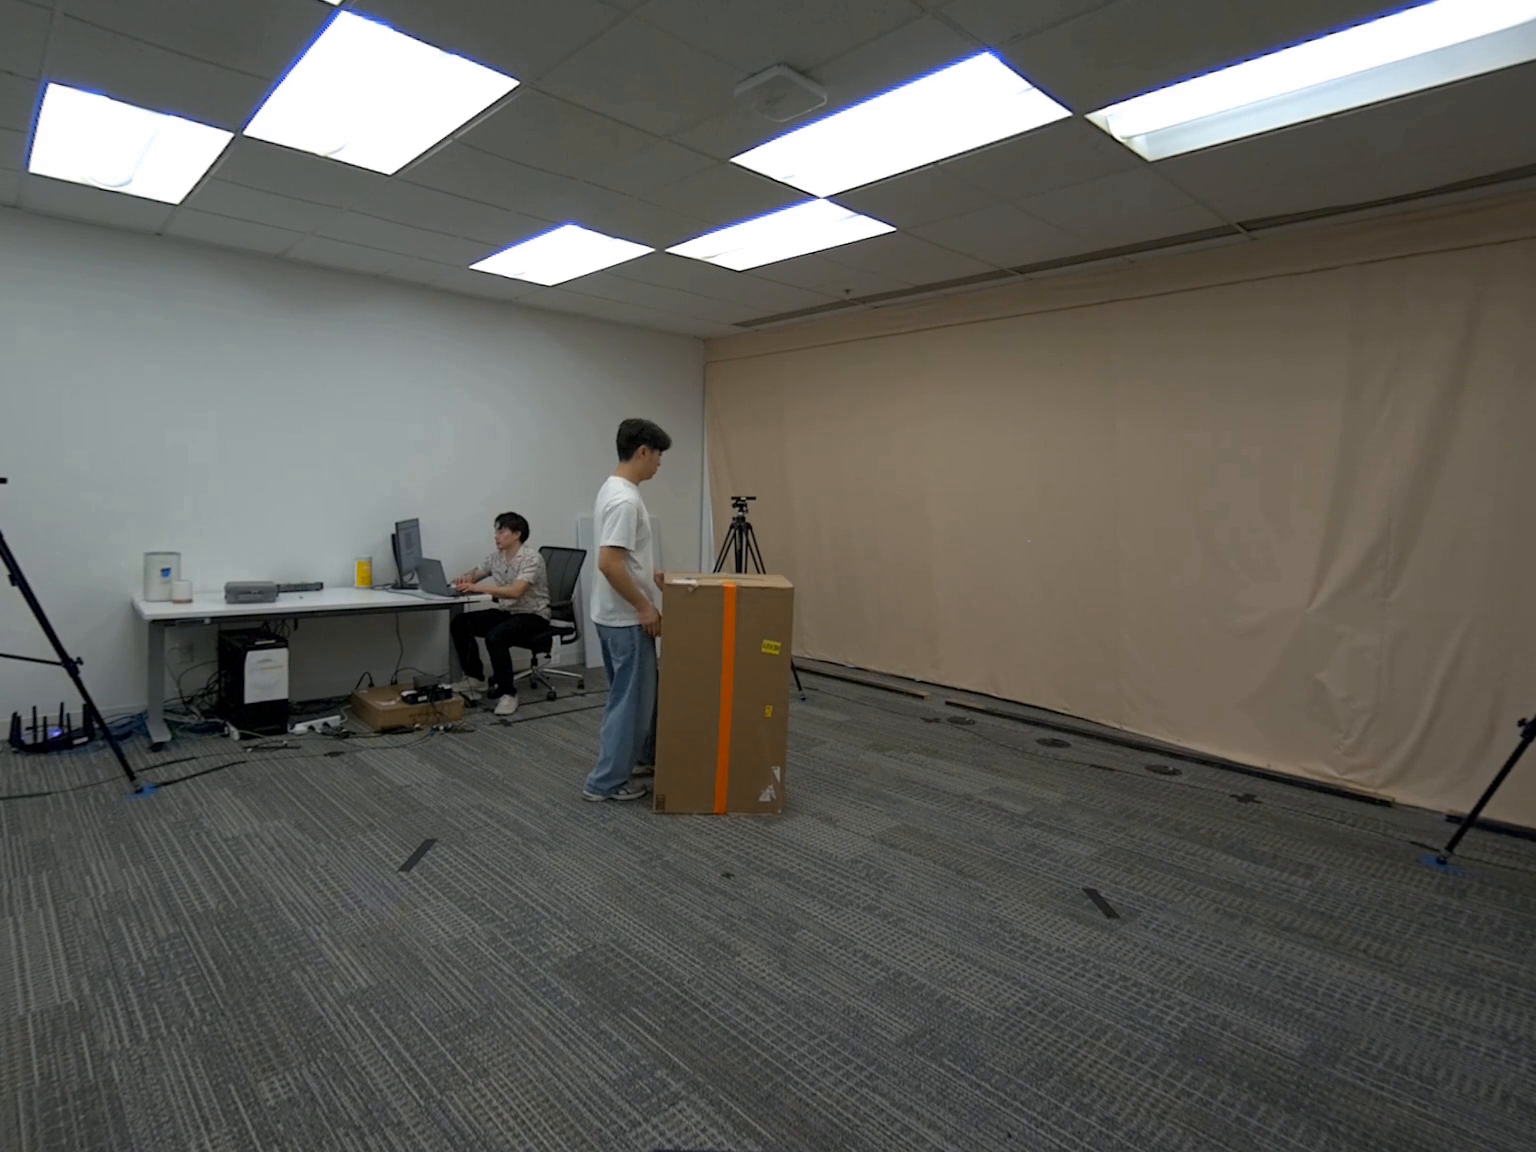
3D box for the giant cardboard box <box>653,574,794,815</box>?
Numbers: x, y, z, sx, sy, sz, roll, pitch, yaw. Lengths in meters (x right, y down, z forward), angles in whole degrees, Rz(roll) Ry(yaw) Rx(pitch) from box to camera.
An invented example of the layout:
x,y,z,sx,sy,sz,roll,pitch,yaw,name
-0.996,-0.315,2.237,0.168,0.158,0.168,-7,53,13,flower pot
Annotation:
x,y,z,sx,sy,sz,roll,pitch,yaw,name
-0.222,0.521,3.884,0.575,1.022,0.430,2,4,-6,giant cardboard box
